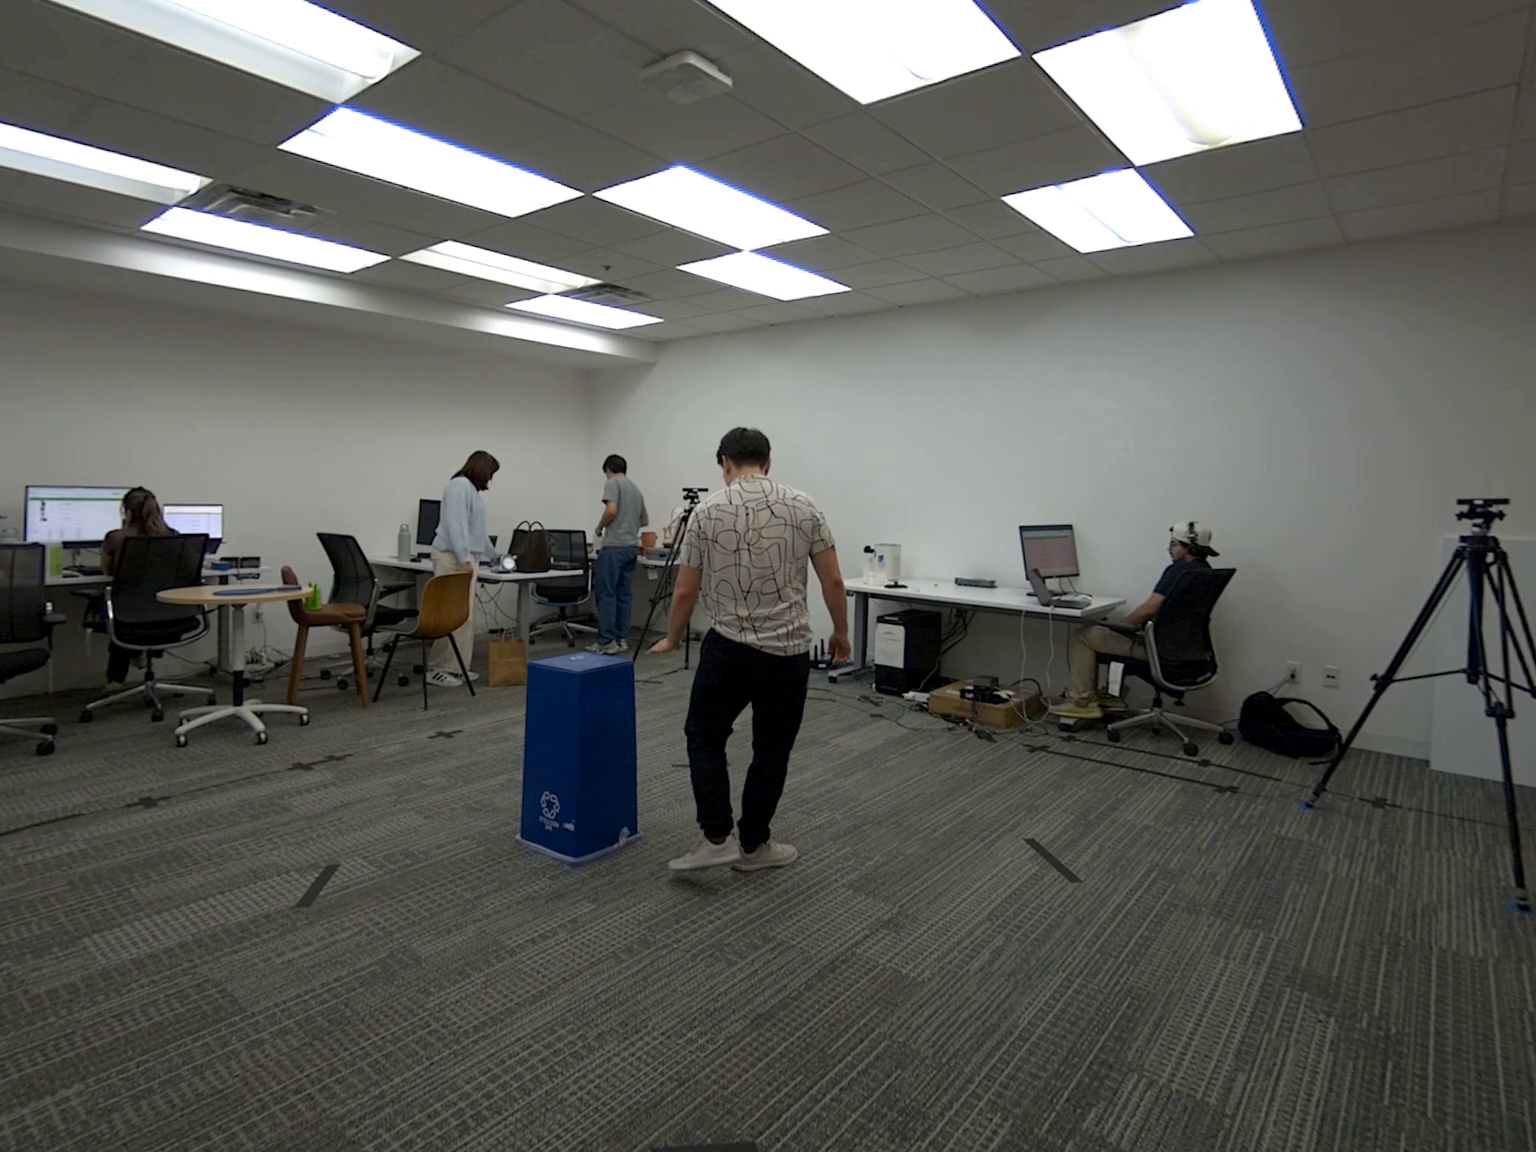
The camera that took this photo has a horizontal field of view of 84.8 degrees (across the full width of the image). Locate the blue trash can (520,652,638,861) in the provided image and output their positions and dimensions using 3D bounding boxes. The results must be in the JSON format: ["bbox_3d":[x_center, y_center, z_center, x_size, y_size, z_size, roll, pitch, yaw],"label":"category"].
[{"bbox_3d":[-0.754,0.684,3.349,0.386,0.712,0.367,2,2,37],"label":"blue trash can"}]
